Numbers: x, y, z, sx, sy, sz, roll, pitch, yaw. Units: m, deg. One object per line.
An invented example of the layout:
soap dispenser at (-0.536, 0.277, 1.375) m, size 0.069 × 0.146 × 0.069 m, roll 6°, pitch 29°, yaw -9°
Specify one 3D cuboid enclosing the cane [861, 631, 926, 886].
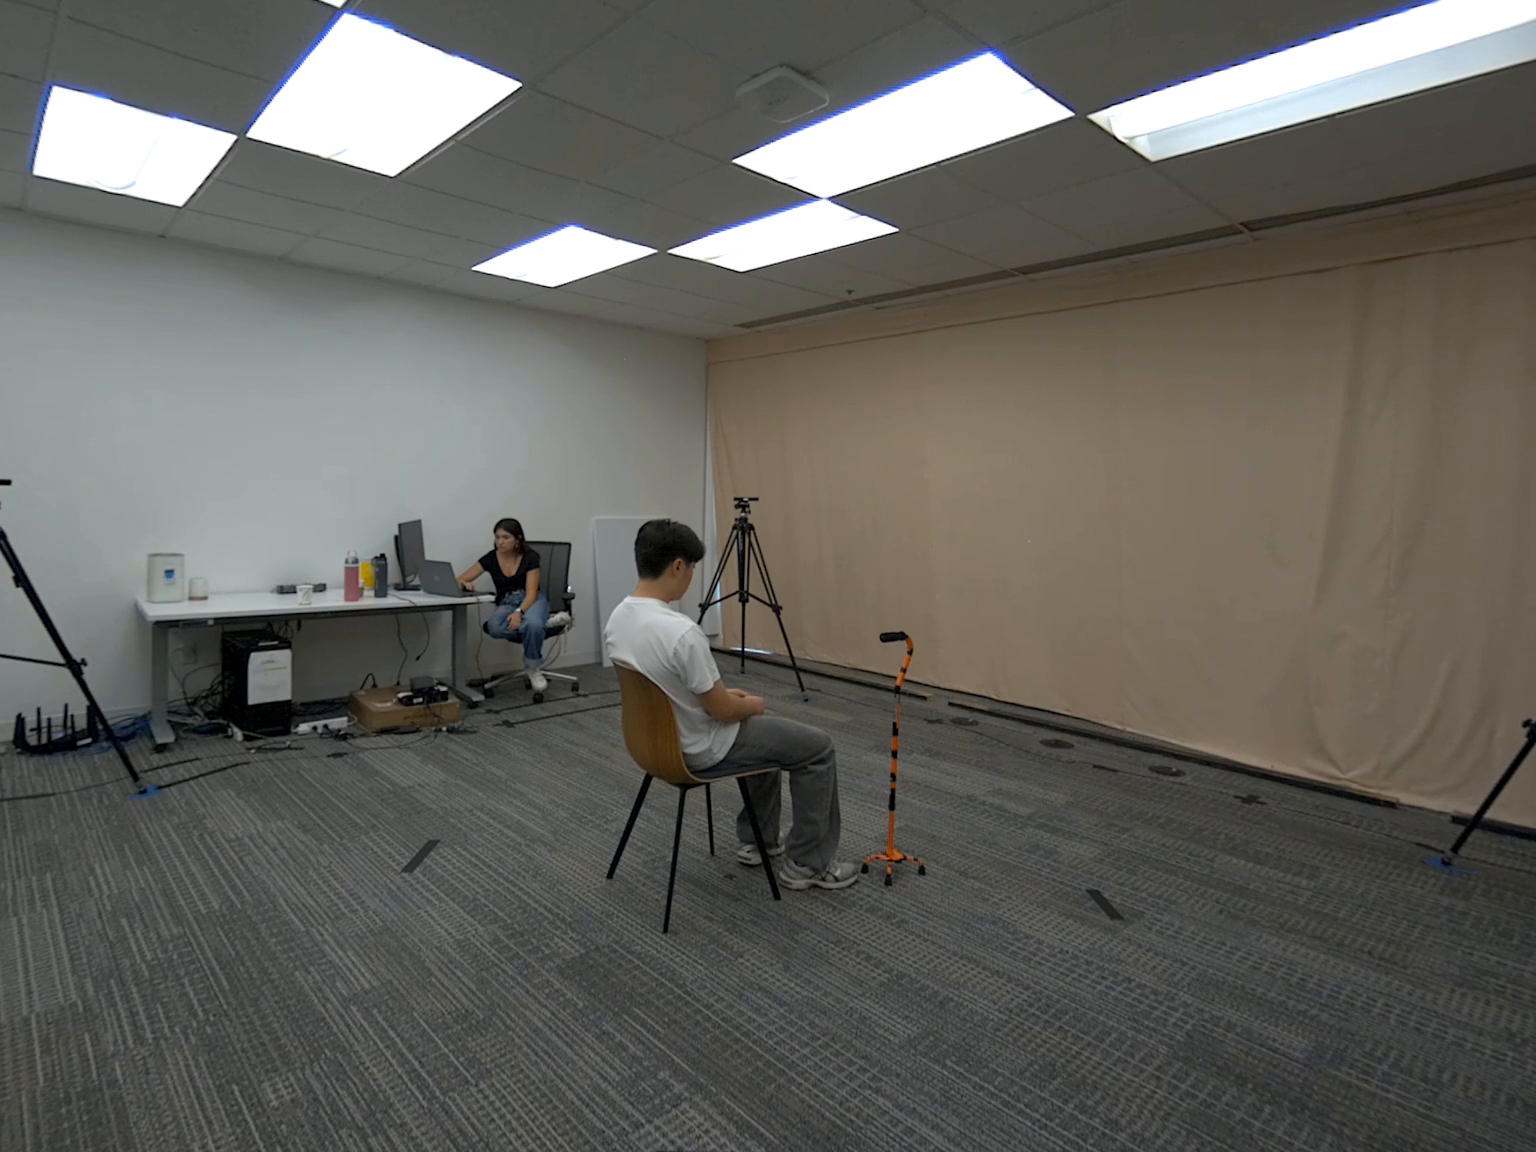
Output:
cane at (0.482, 0.663, 3.134) m, size 0.202 × 0.906 × 0.155 m, roll 0°, pitch 3°, yaw -37°
